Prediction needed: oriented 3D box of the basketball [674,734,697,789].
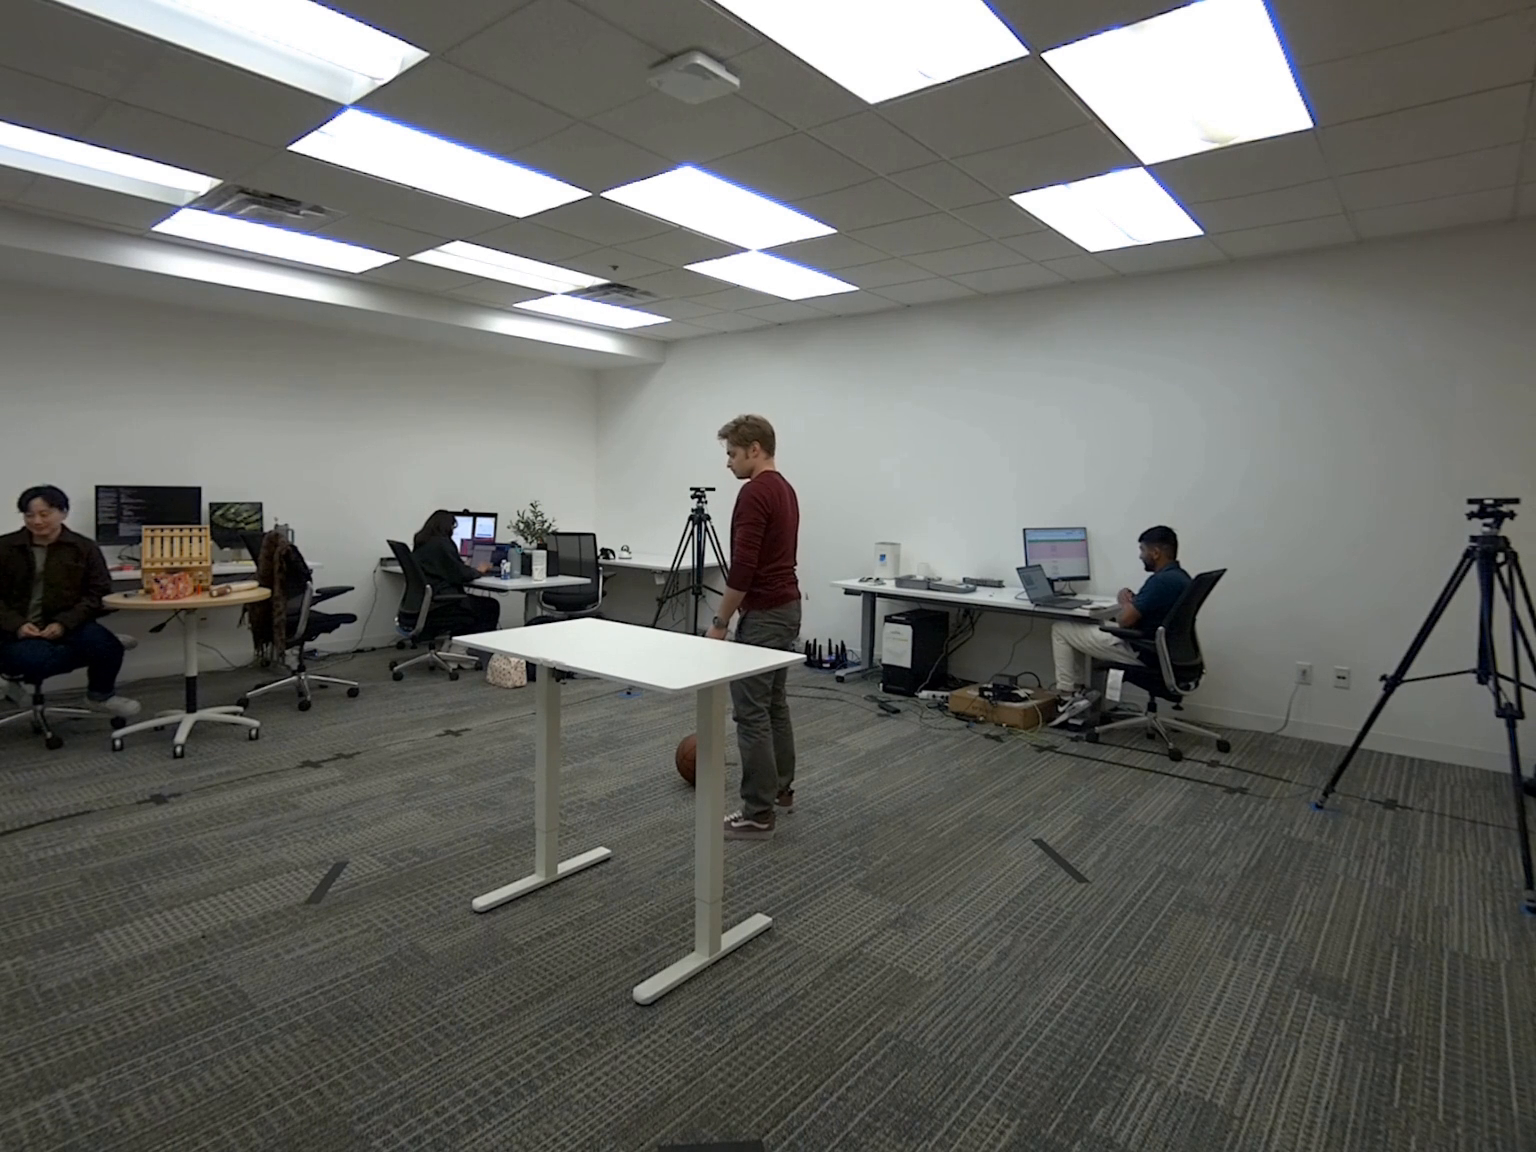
[{"bbox_3d":[-0.325,0.859,4.019,0.235,0.235,0.237,1,4,-2],"label":"basketball"}]
